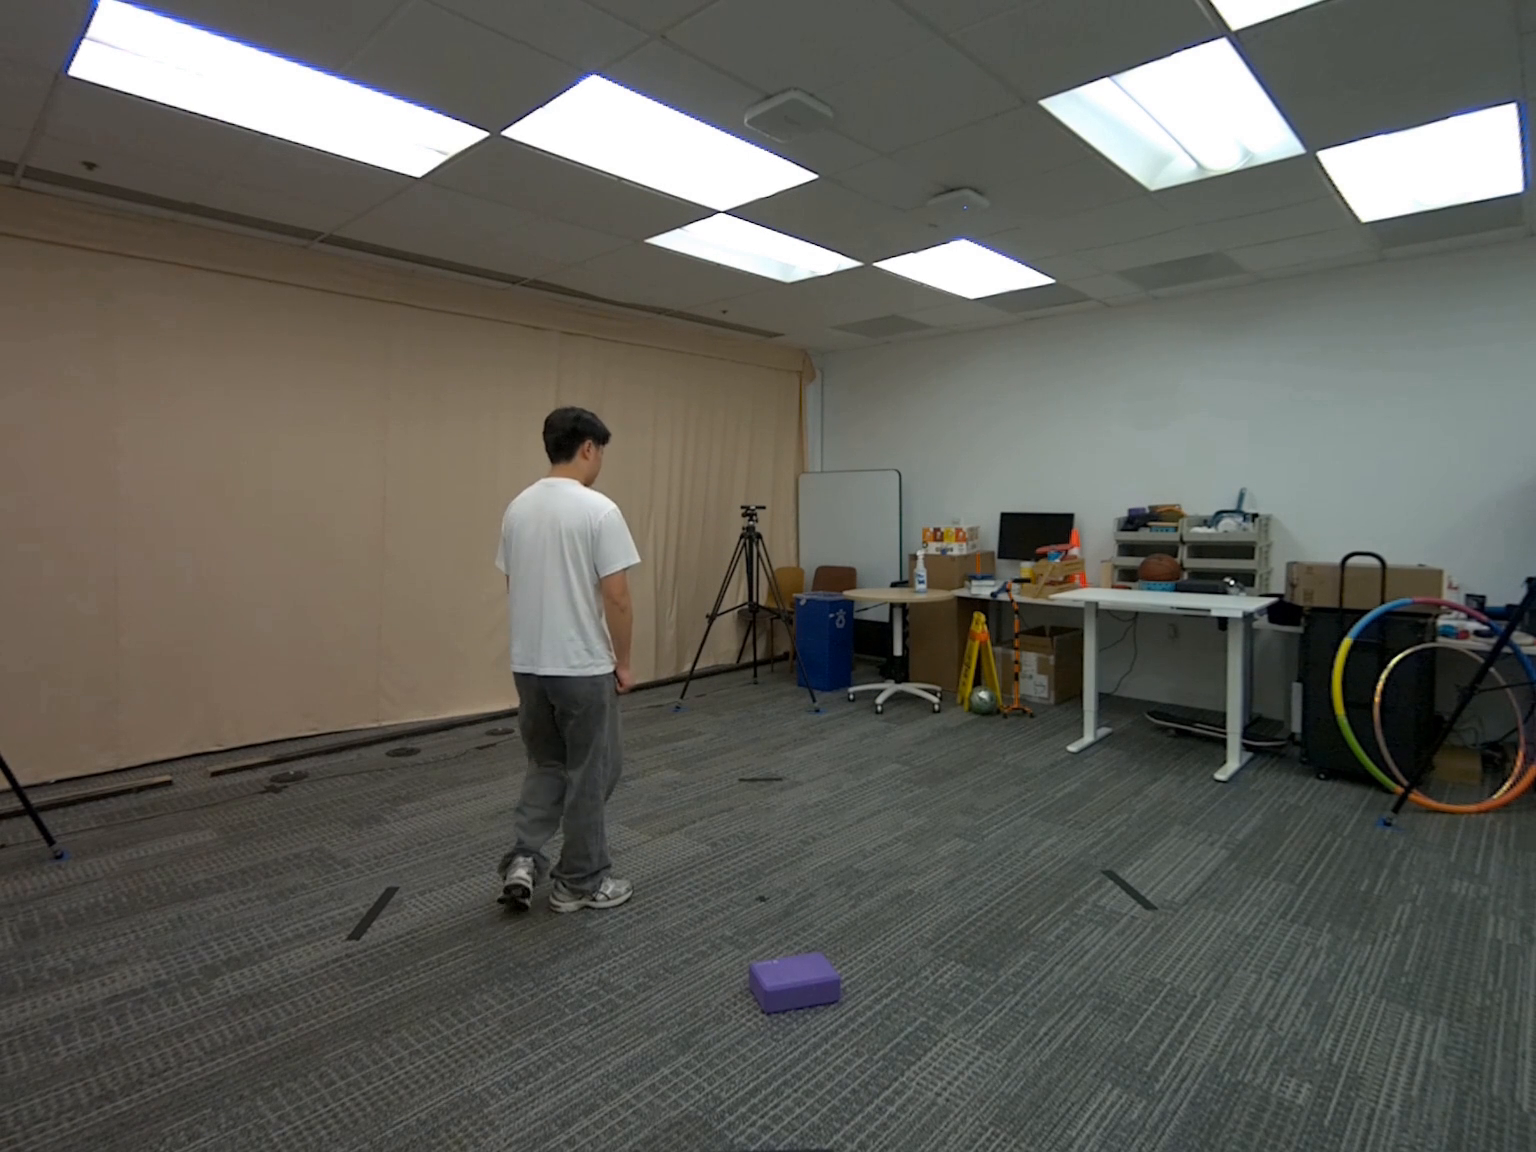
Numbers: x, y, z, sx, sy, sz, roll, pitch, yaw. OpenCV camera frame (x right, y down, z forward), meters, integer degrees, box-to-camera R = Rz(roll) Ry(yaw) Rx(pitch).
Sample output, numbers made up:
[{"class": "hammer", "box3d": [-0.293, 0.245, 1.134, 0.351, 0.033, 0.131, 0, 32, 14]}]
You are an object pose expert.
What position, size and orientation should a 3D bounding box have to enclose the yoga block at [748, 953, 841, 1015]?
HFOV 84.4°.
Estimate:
[{"class": "yoga block", "box3d": [0.084, 1.154, 2.391, 0.225, 0.076, 0.152, -1, 4, -16]}]
